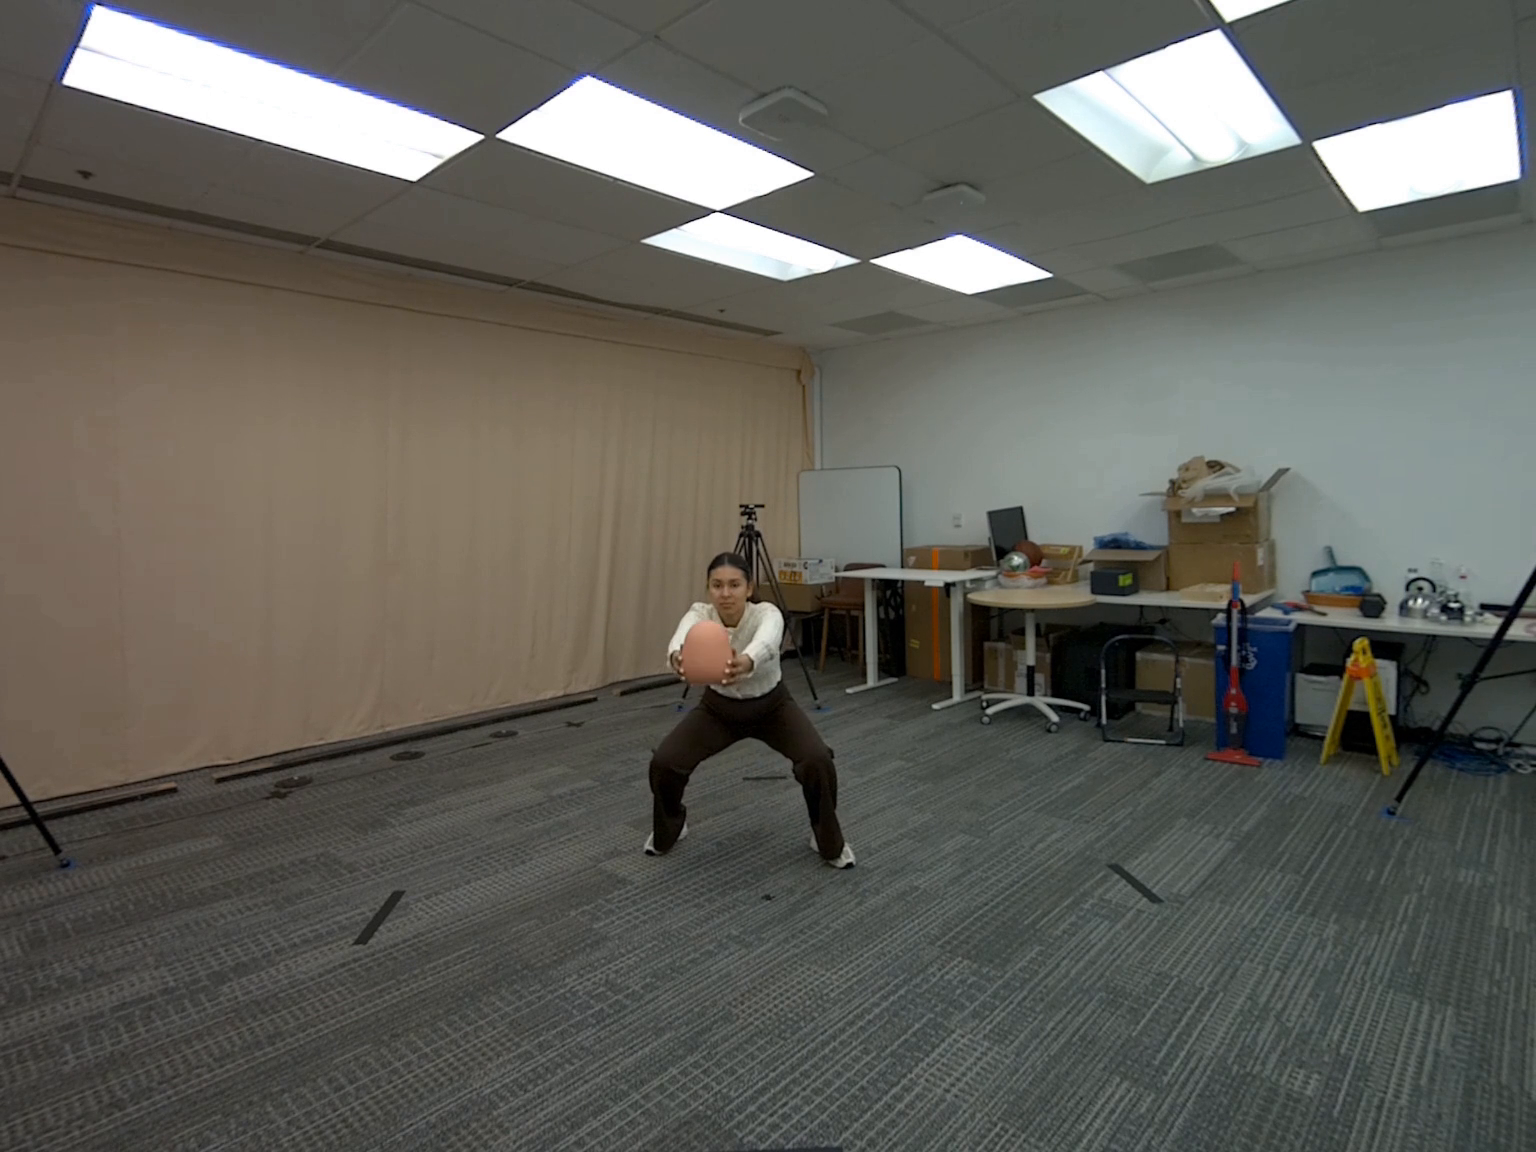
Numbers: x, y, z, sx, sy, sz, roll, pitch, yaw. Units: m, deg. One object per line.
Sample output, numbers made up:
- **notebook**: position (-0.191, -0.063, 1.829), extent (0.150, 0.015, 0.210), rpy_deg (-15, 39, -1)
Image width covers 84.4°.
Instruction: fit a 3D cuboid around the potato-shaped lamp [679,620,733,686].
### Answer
- **potato-shaped lamp**: position (-0.191, 0.220, 2.607), extent (0.167, 0.199, 0.168), rpy_deg (1, -11, 11)
